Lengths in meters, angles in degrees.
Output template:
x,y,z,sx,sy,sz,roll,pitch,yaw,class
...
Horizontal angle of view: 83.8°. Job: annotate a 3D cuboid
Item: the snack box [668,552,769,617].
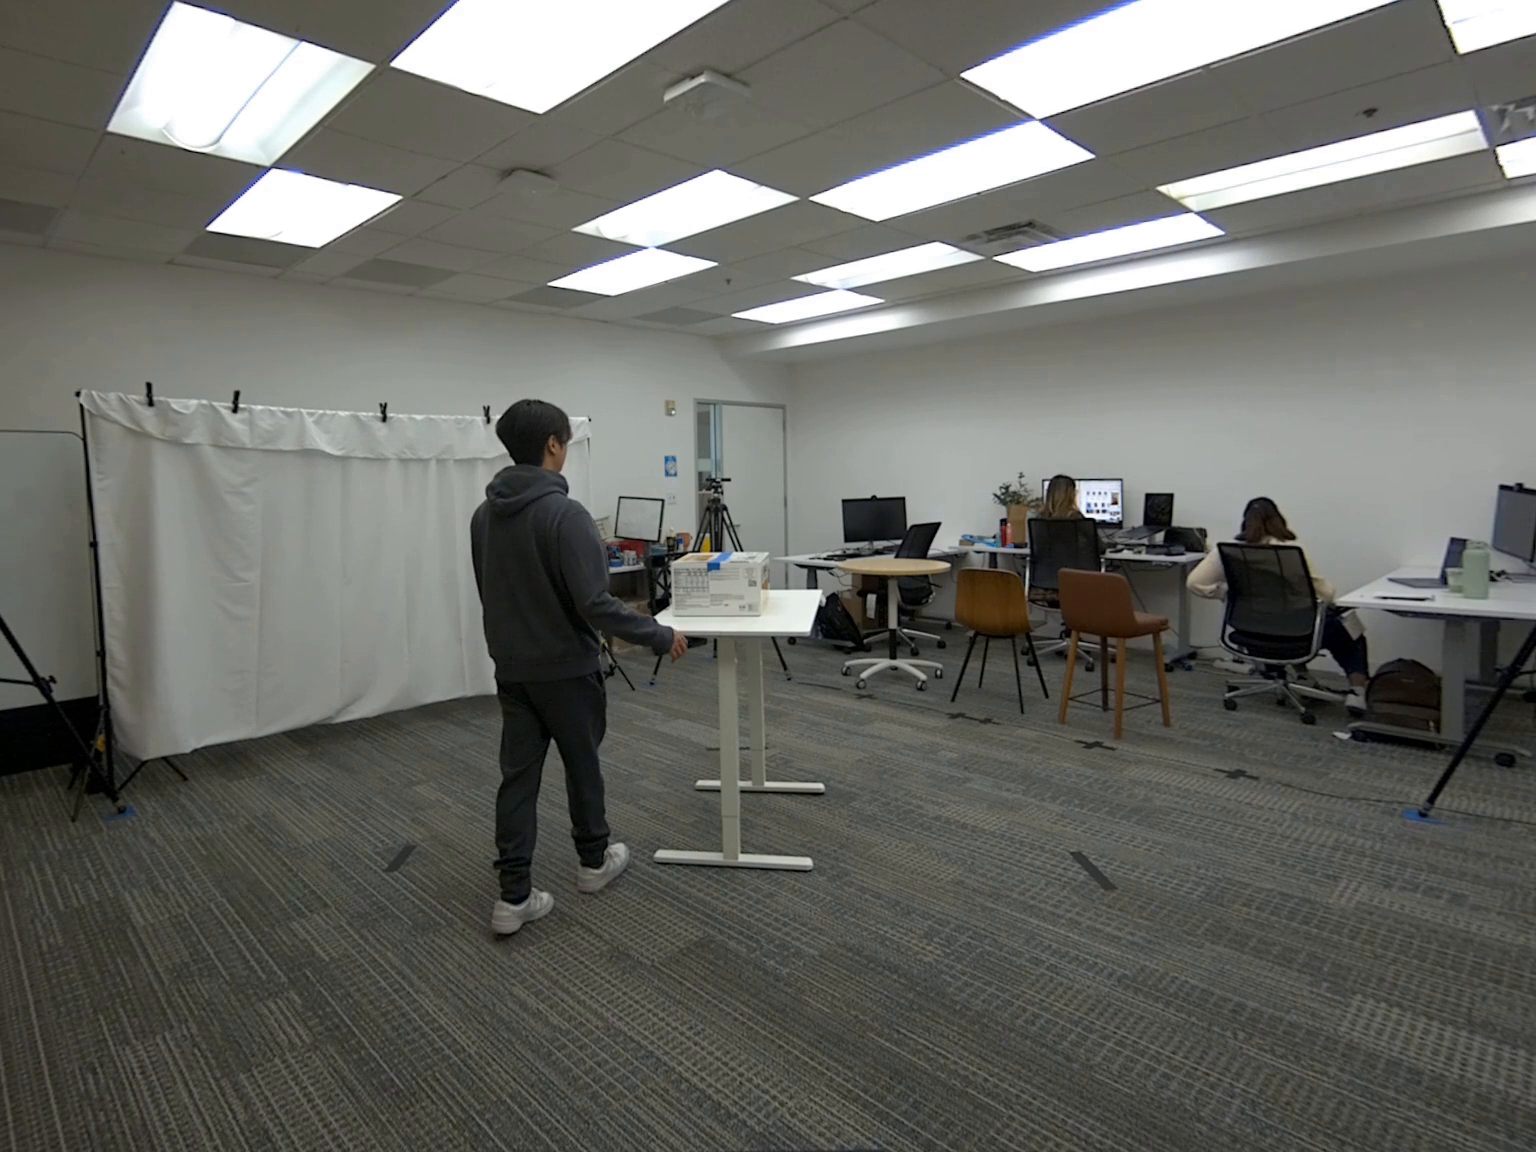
x,y,z,sx,sy,sz,roll,pitch,yaw,class
-0.178,0.027,3.395,0.343,0.205,0.404,-1,6,7,snack box
